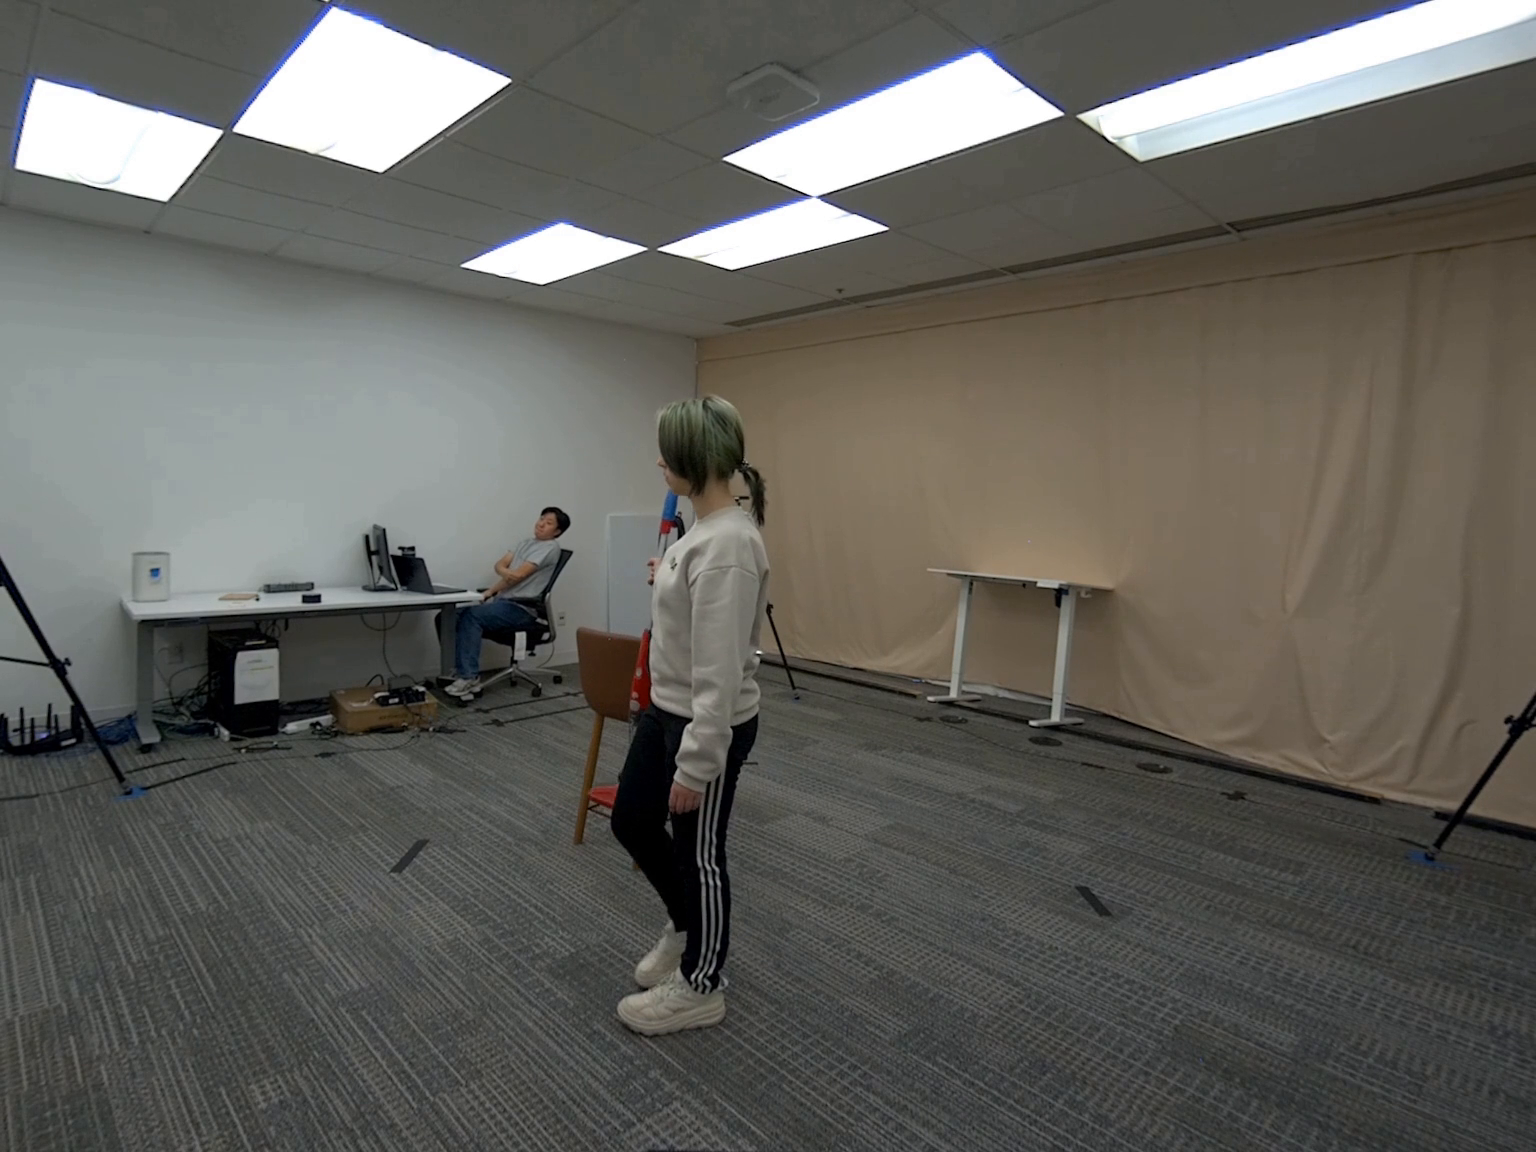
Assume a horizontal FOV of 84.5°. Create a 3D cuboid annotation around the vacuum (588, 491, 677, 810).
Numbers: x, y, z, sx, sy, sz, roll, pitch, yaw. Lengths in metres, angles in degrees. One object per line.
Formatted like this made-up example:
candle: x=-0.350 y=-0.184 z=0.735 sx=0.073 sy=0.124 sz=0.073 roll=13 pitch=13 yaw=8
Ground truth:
vacuum: x=-0.347 y=0.172 z=2.615 sx=0.257 sy=1.051 sz=0.141 roll=8 pitch=-2 yaw=20
